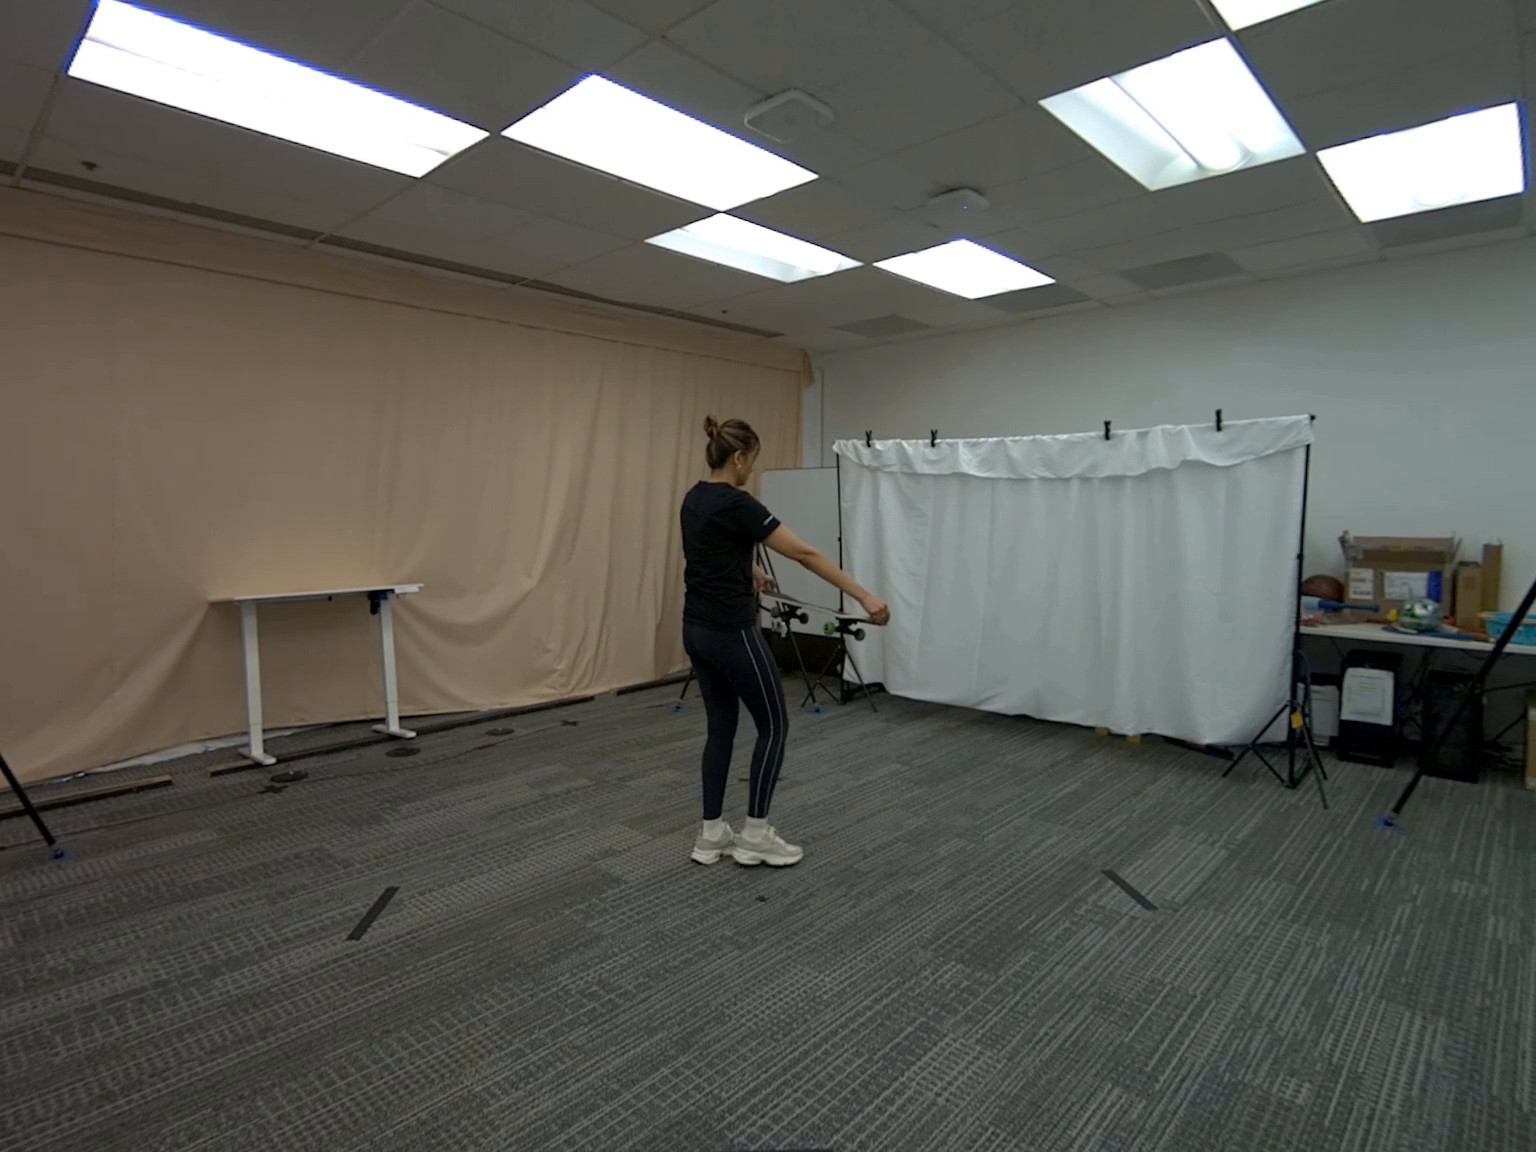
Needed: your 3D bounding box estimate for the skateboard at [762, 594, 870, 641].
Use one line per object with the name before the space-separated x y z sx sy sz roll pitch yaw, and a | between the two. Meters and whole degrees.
skateboard | 0.216 0.175 3.490 0.188 0.110 0.810 10 2 -31
